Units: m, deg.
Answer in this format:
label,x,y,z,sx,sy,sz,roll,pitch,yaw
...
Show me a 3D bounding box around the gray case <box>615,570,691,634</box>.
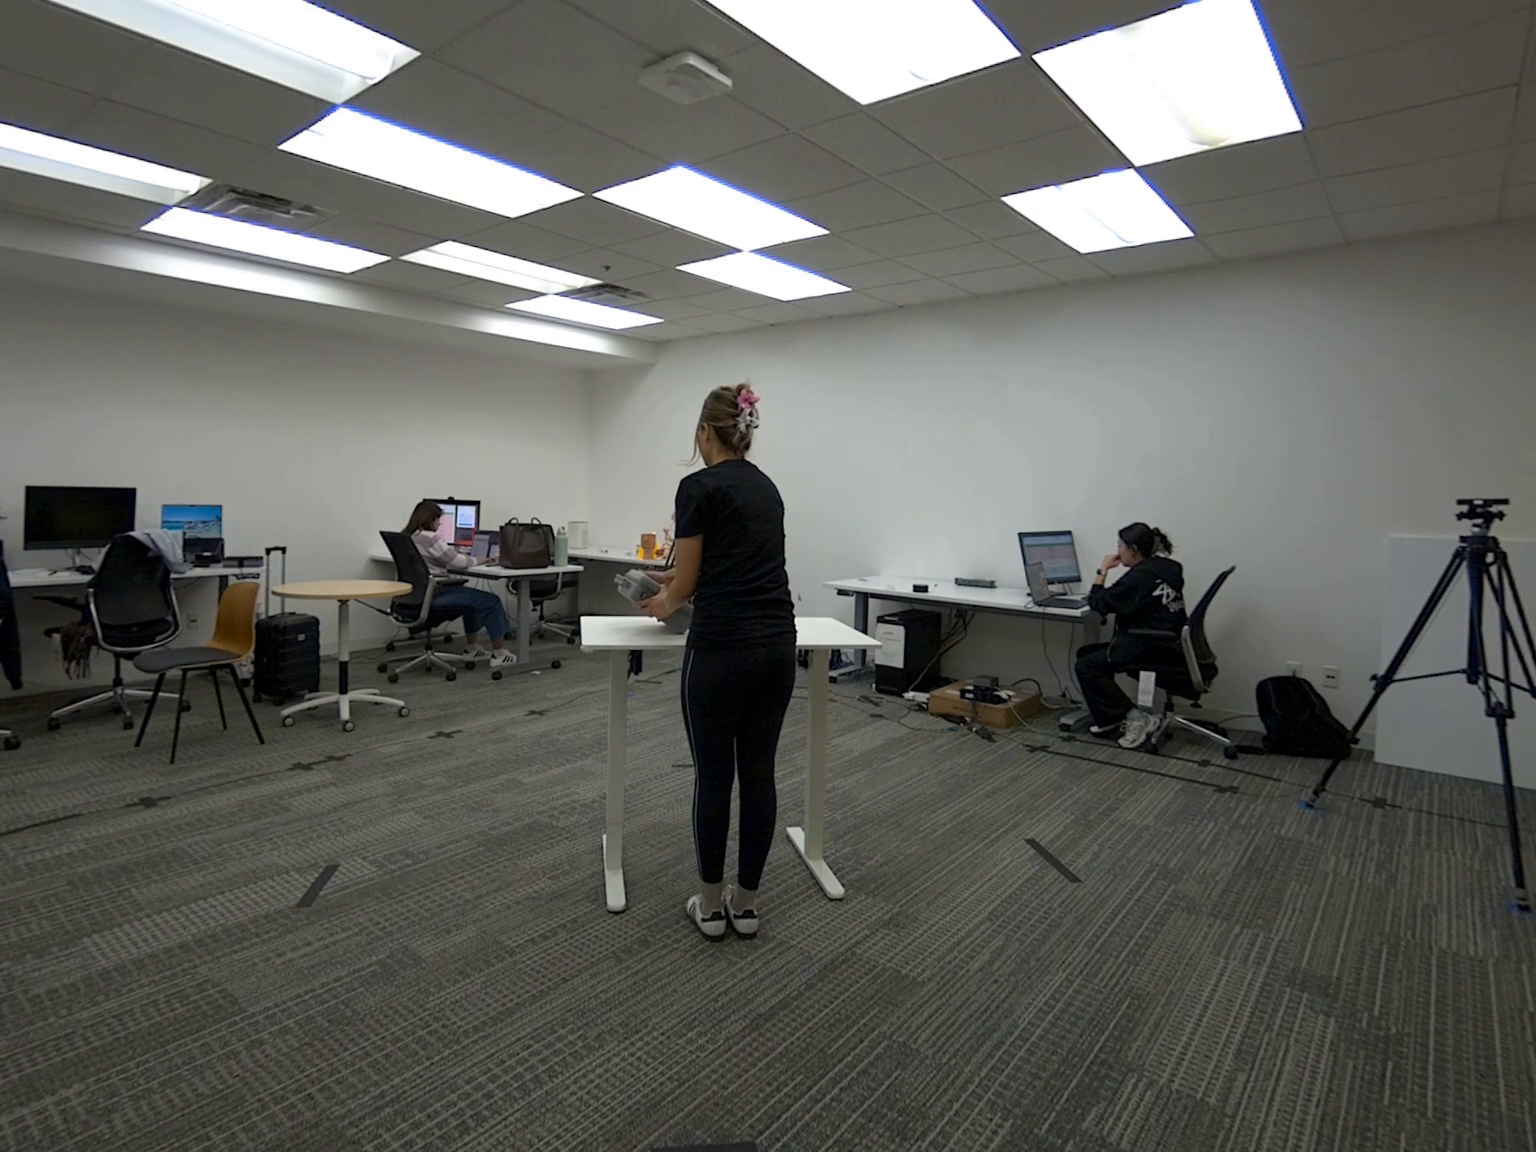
label,x,y,z,sx,sy,sz,roll,pitch,yaw
gray case,-0.409,0.086,3.022,0.255,0.104,0.262,35,-7,-17
